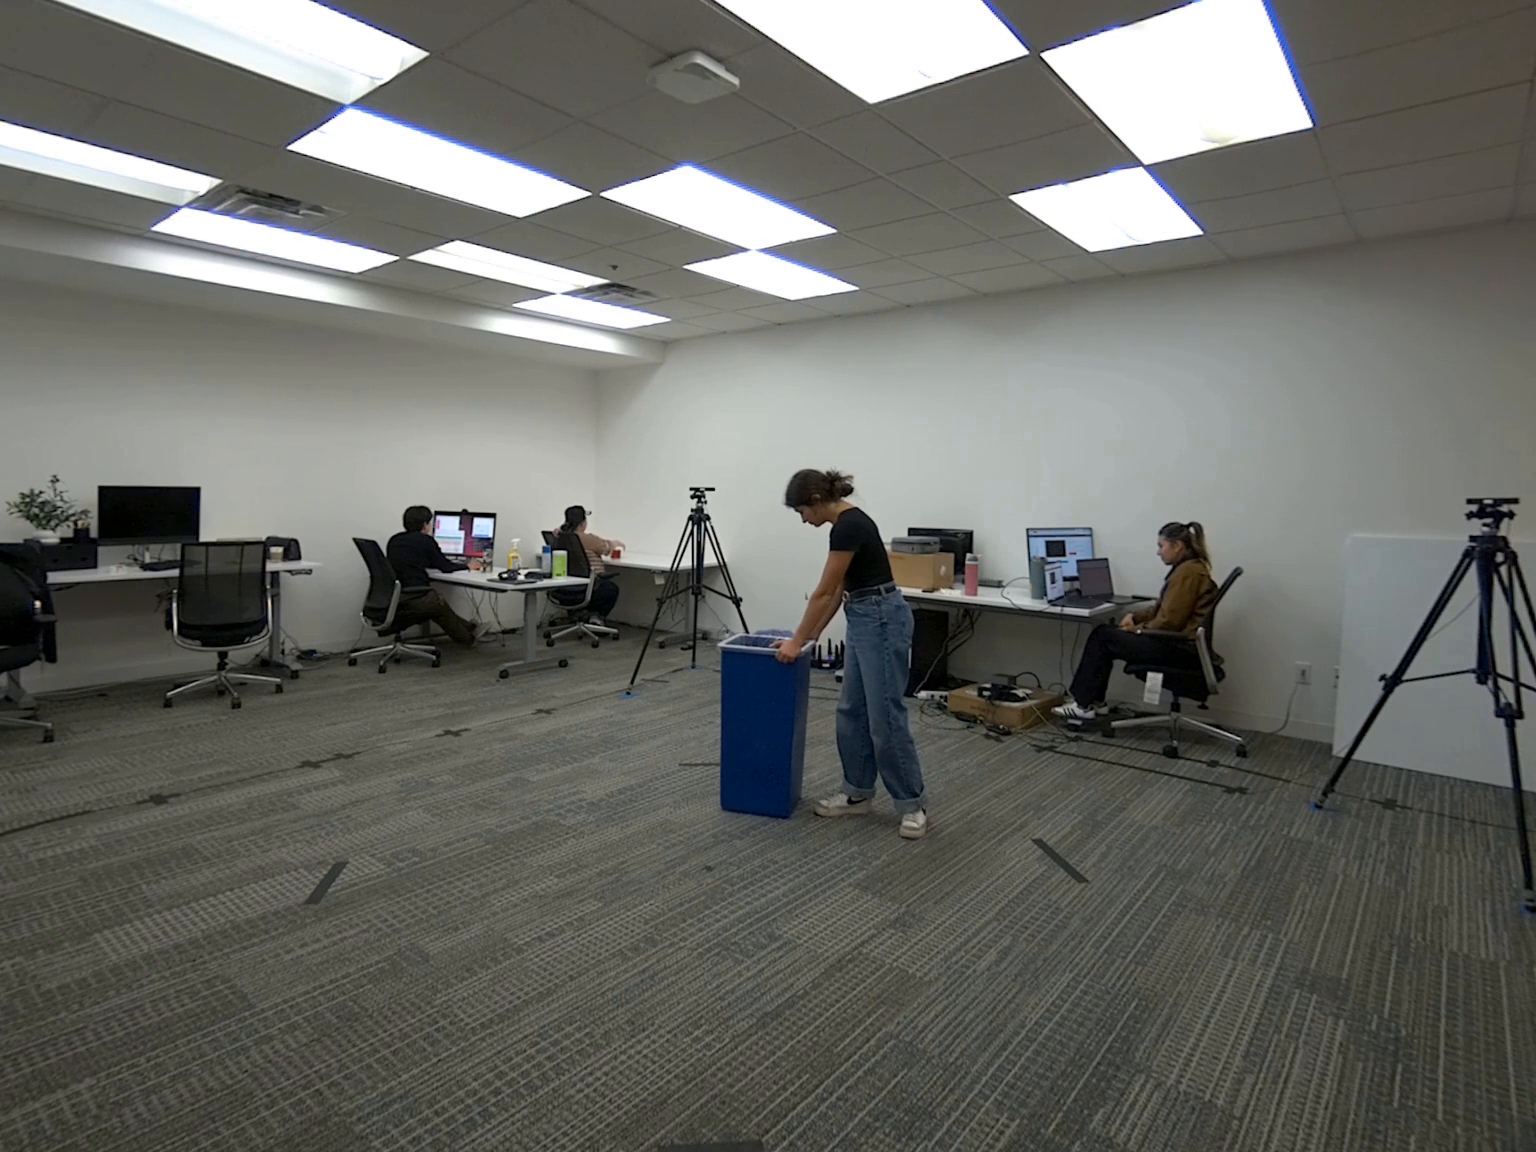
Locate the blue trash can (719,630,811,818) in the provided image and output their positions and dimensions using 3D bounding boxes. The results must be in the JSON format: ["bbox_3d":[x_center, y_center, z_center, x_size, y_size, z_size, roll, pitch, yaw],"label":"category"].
[{"bbox_3d":[-0.021,0.645,3.759,0.384,0.713,0.368,3,2,14],"label":"blue trash can"}]
